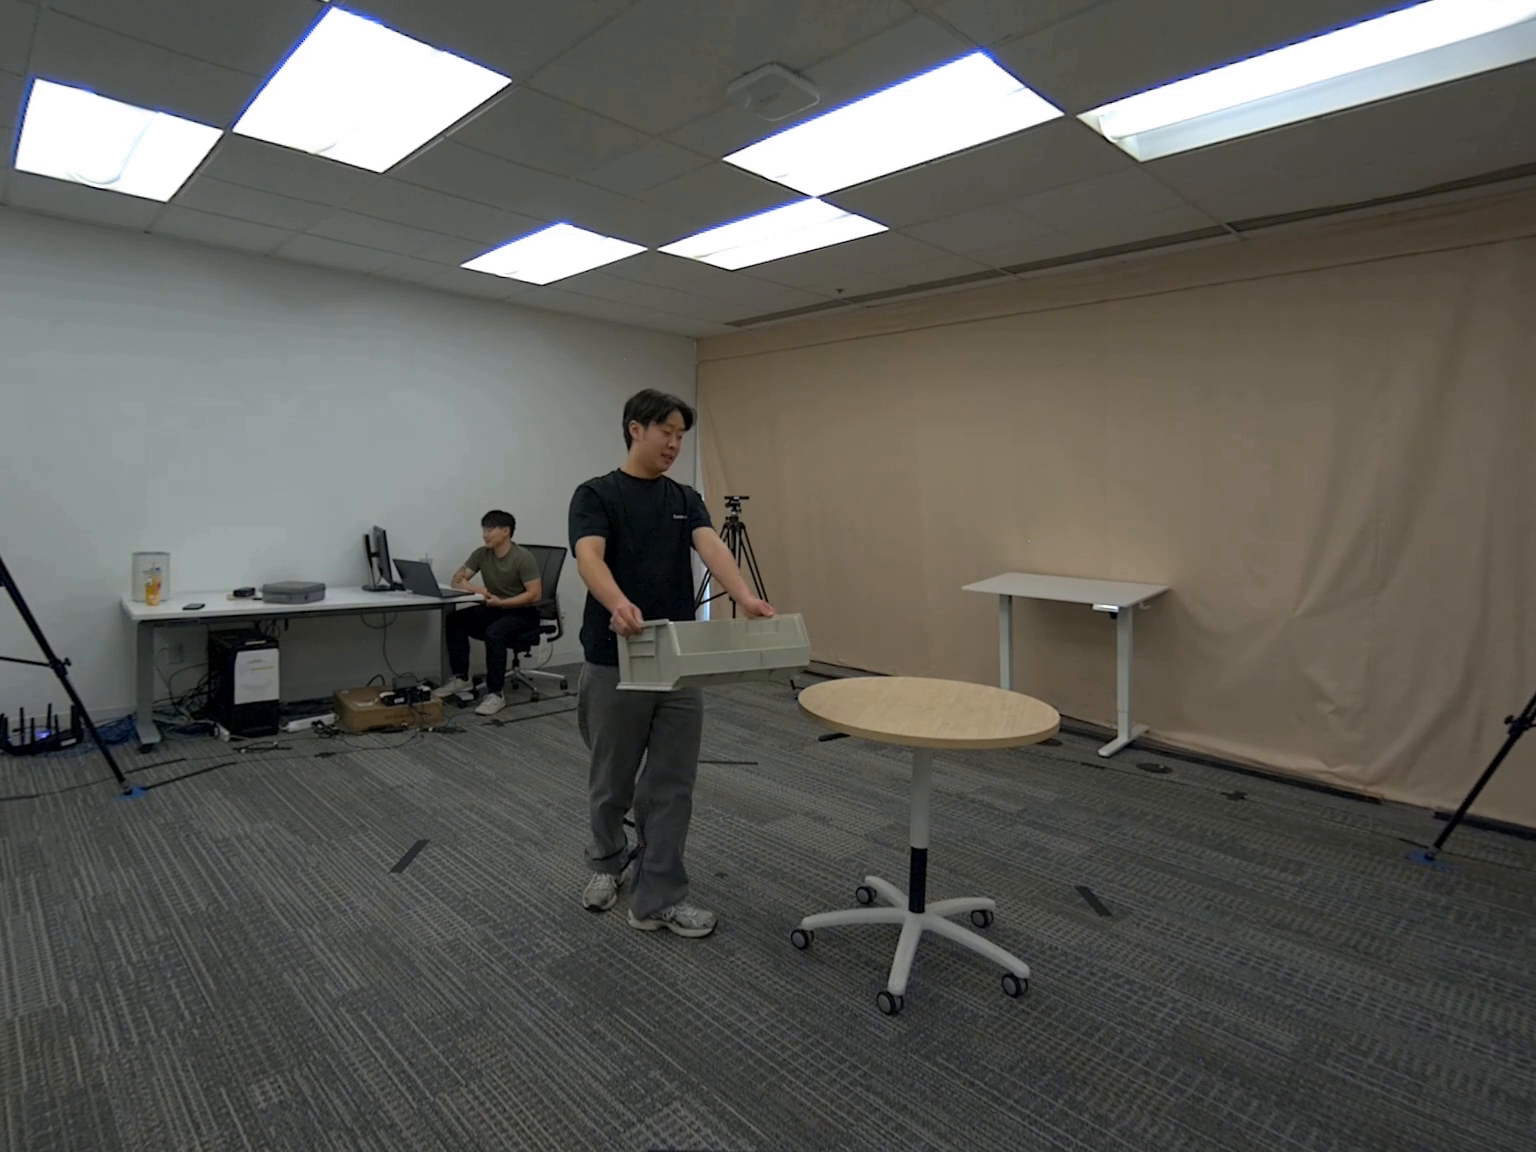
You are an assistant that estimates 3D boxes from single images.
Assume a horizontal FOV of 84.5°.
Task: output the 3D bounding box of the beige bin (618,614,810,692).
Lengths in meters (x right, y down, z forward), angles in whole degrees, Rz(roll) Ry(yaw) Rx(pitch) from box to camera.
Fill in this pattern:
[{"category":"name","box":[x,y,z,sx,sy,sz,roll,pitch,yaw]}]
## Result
[{"category":"beige bin","box":[-0.163,0.211,2.329,0.413,0.190,0.384,-1,-6,-34]}]
